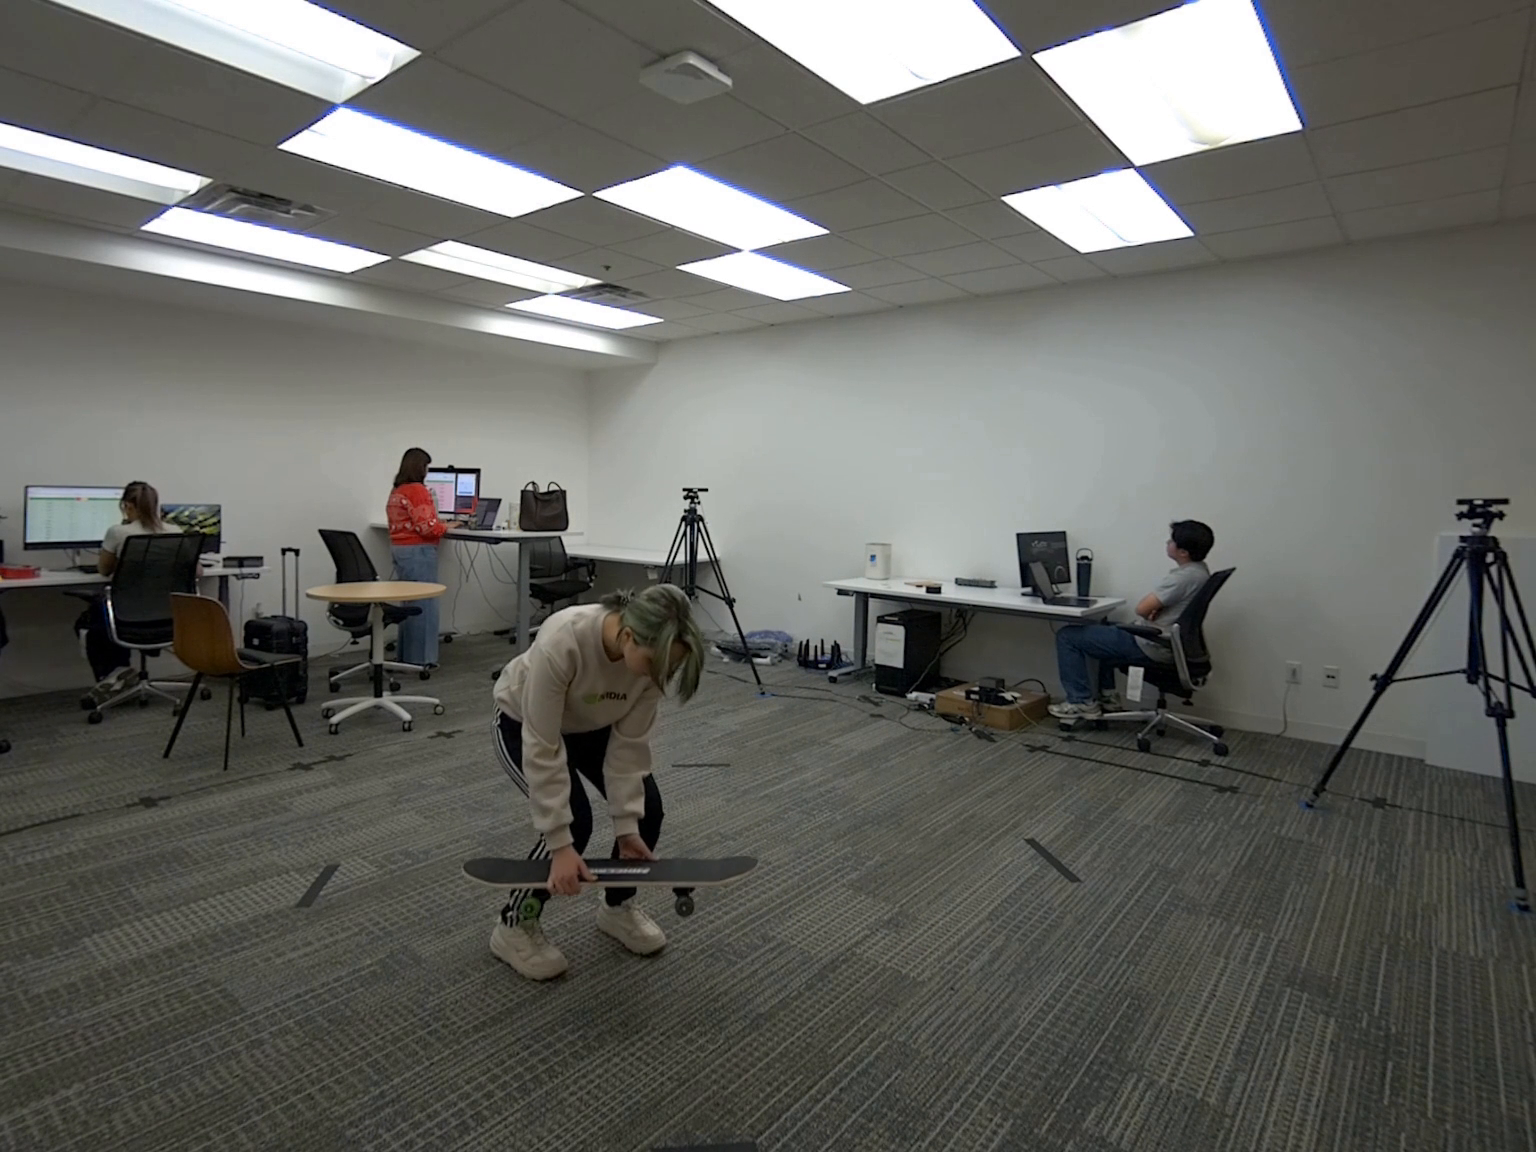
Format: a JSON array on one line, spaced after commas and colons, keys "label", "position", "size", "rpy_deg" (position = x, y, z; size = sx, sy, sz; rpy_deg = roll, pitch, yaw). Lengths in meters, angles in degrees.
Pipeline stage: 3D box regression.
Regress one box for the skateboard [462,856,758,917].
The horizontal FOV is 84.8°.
[{"label": "skateboard", "position": [-0.422, 0.812, 2.256], "size": [0.785, 0.110, 0.193], "rpy_deg": [-1, 0, -1]}]
